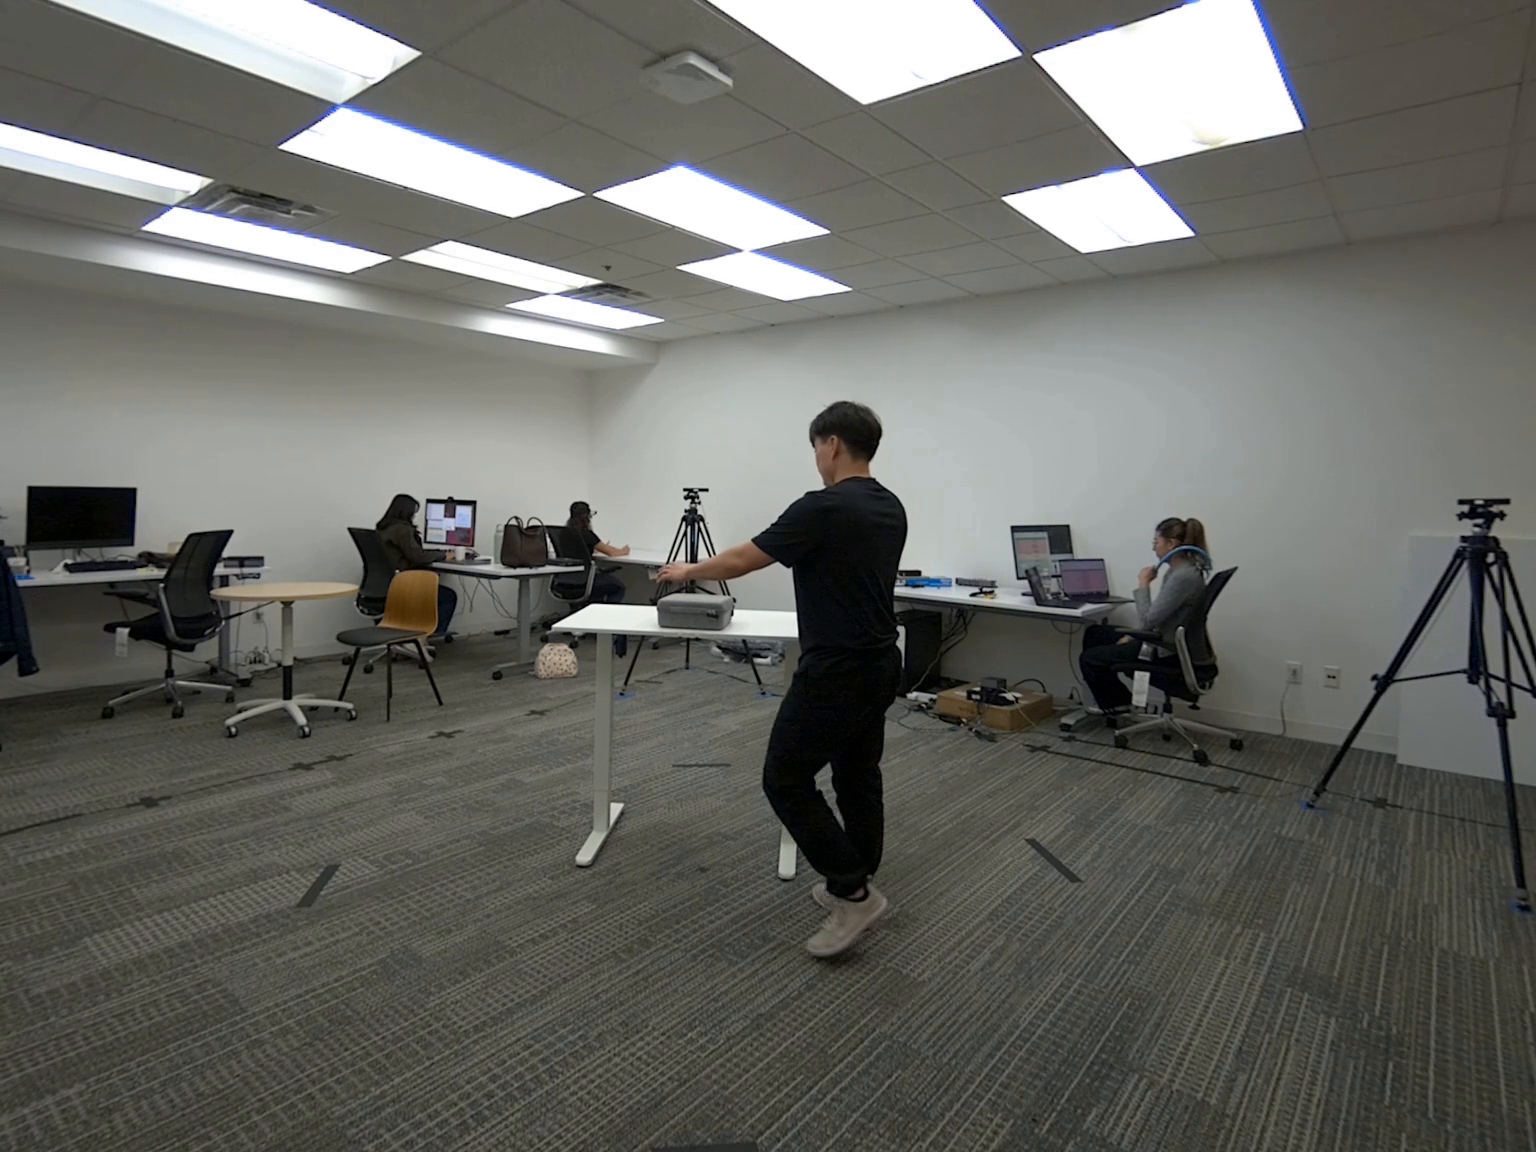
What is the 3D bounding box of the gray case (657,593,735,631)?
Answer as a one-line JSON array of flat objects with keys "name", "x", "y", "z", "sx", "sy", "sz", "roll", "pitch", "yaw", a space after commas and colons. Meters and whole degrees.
[{"name": "gray case", "x": -0.283, "y": 0.125, "z": 3.199, "sx": 0.260, "sy": 0.104, "sz": 0.259, "roll": 1, "pitch": 5, "yaw": 8}]
